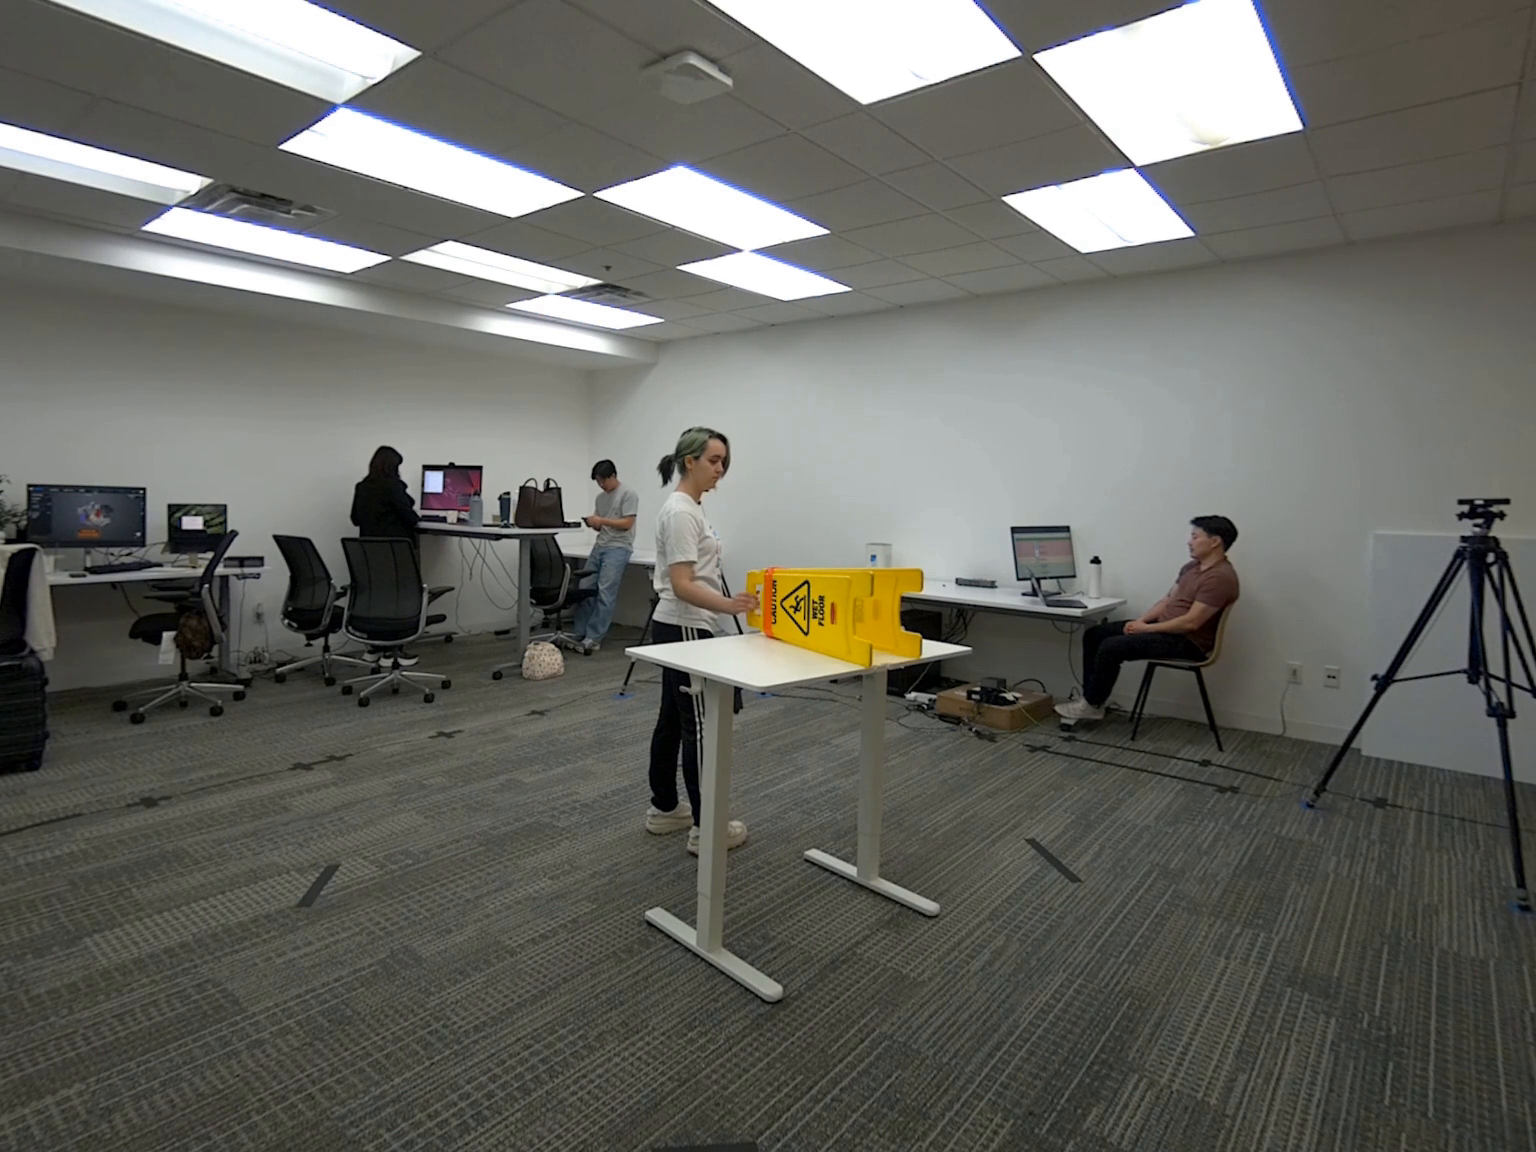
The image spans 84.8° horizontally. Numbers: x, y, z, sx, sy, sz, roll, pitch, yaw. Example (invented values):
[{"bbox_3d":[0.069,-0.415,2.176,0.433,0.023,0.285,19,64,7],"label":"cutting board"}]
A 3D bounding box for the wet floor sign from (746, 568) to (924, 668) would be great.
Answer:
[{"bbox_3d":[0.149,0.101,2.782,0.281,0.282,0.668,-2,4,-44],"label":"wet floor sign"}]
